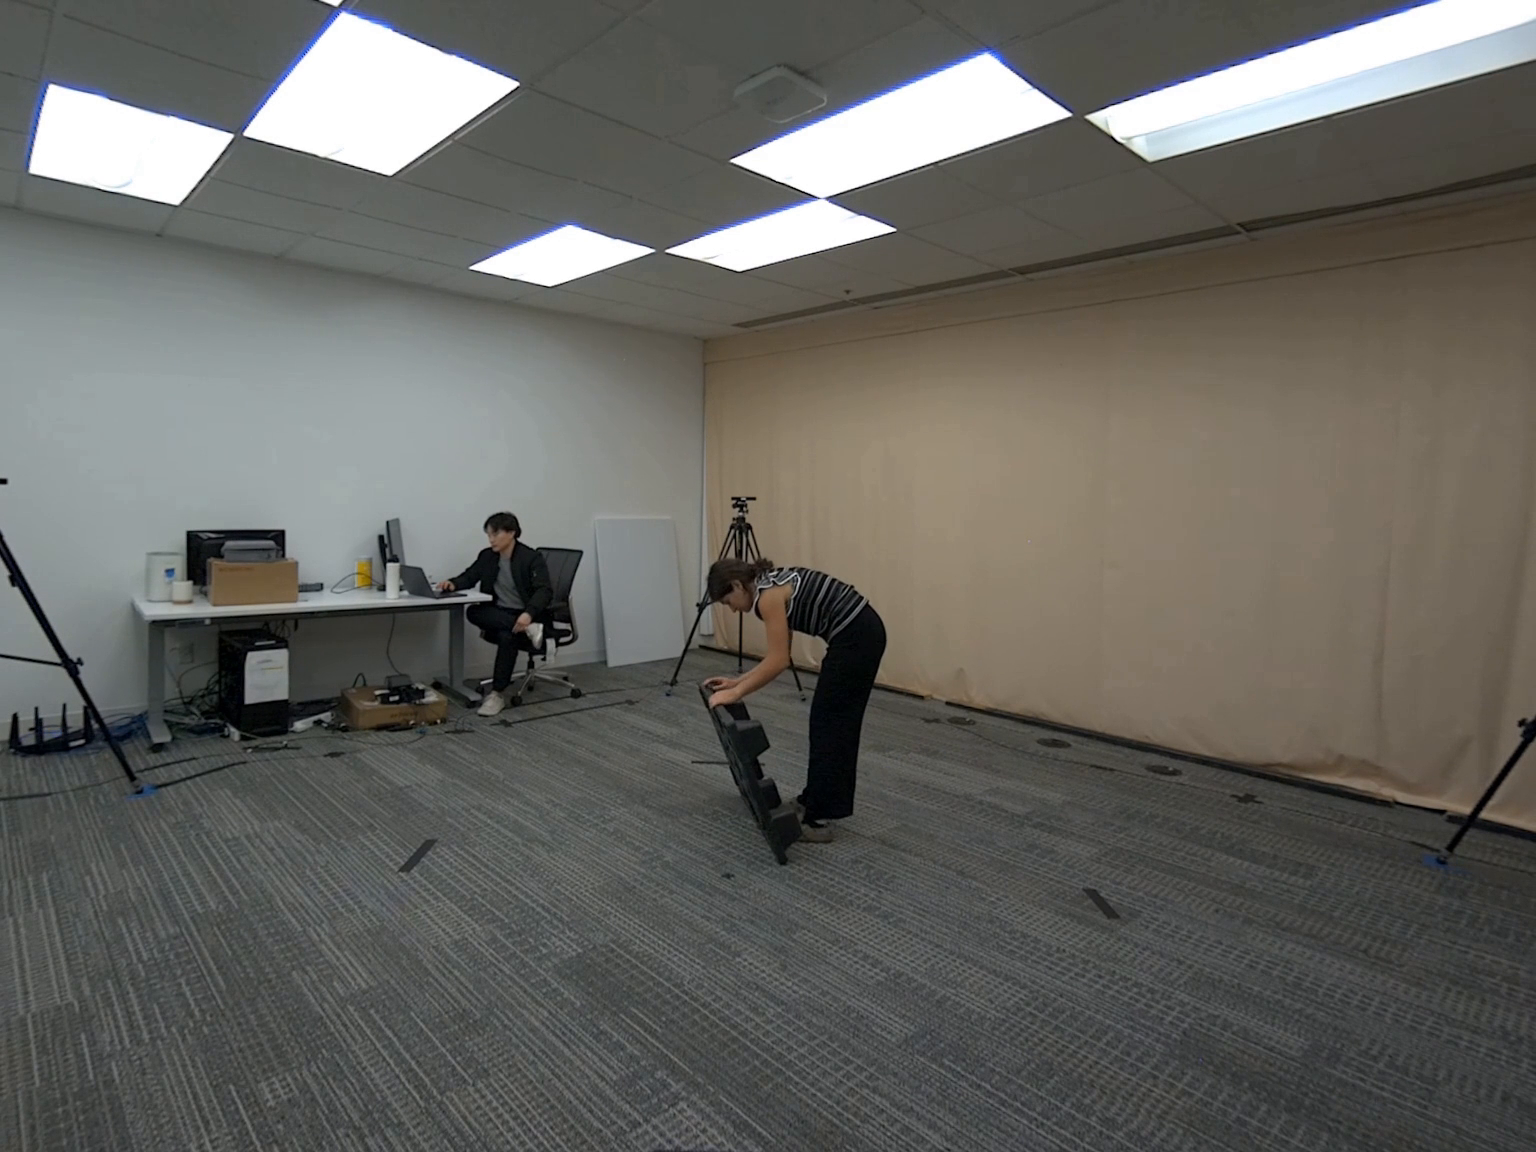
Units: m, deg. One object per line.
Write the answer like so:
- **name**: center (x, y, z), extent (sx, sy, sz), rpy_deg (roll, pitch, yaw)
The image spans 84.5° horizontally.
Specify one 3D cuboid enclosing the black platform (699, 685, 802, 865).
- **black platform**: center (-0.097, 0.764, 3.560), extent (0.143, 0.601, 0.815), rpy_deg (-21, 9, -10)
